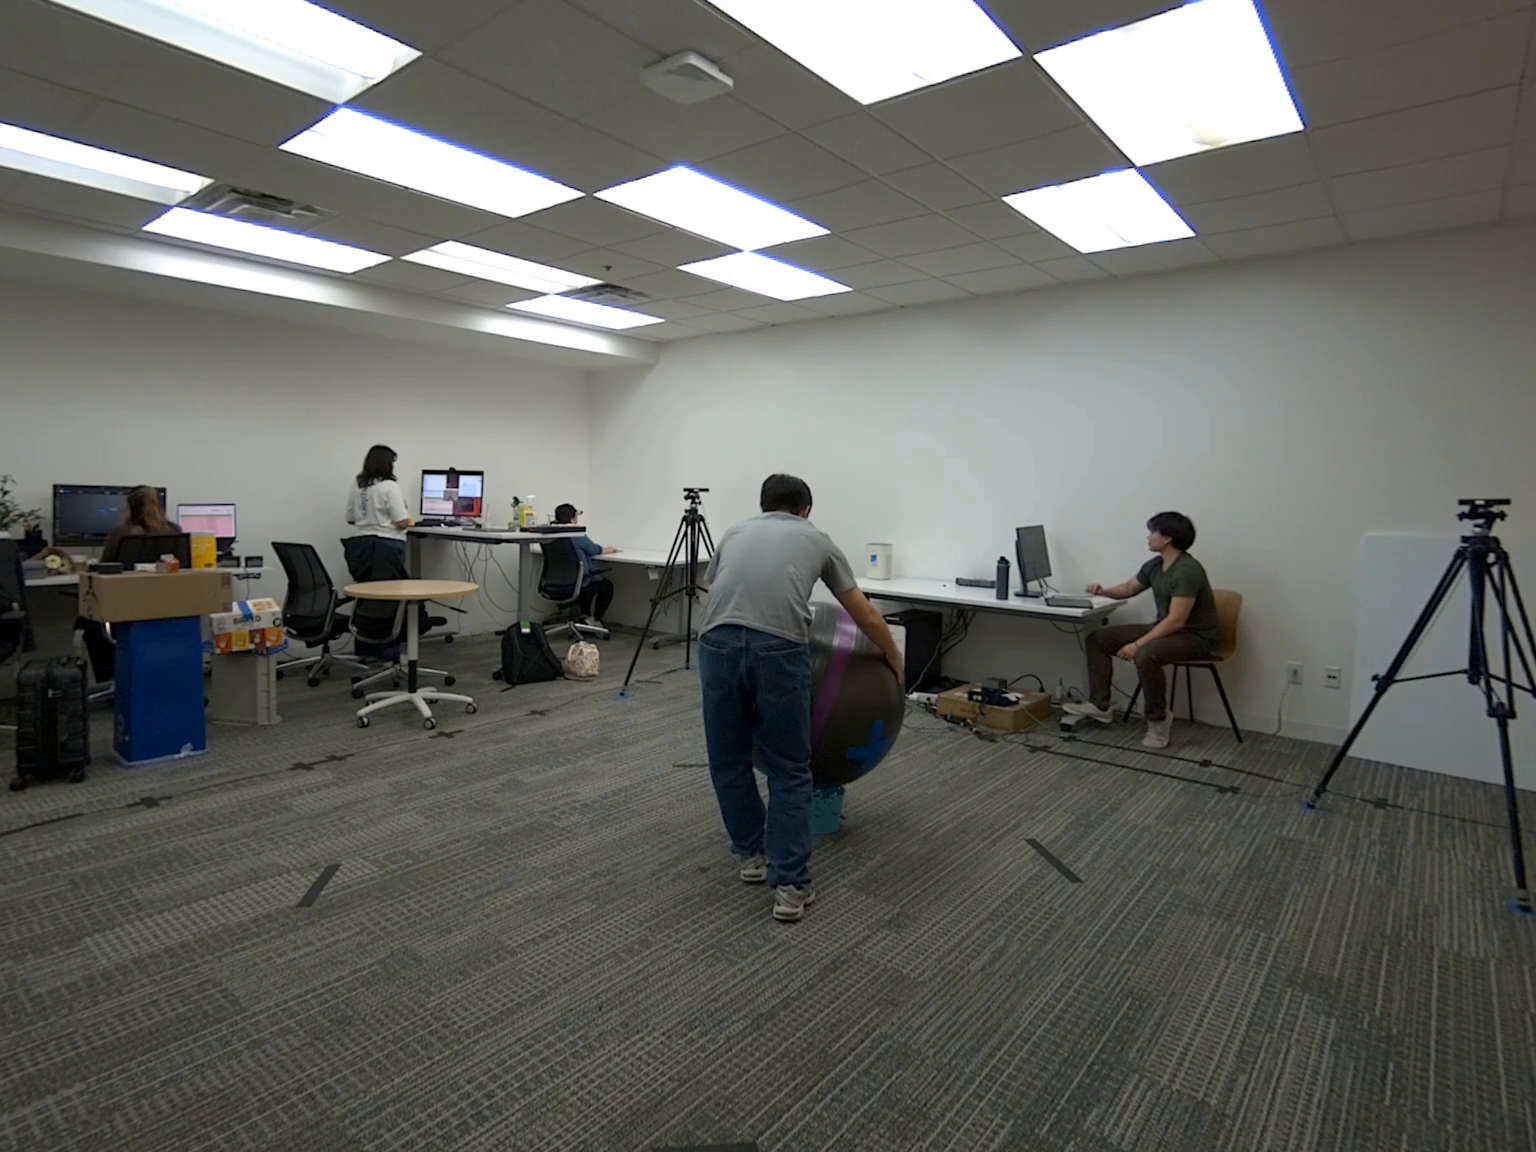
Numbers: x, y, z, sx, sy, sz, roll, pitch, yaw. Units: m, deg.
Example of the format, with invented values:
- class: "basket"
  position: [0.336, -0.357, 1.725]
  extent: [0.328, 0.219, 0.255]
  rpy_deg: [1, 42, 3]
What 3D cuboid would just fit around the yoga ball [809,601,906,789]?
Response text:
- class: "yoga ball"
  position: [0.173, 0.480, 3.504]
  extent: [0.757, 0.755, 0.762]
  rpy_deg: [1, 4, -2]
